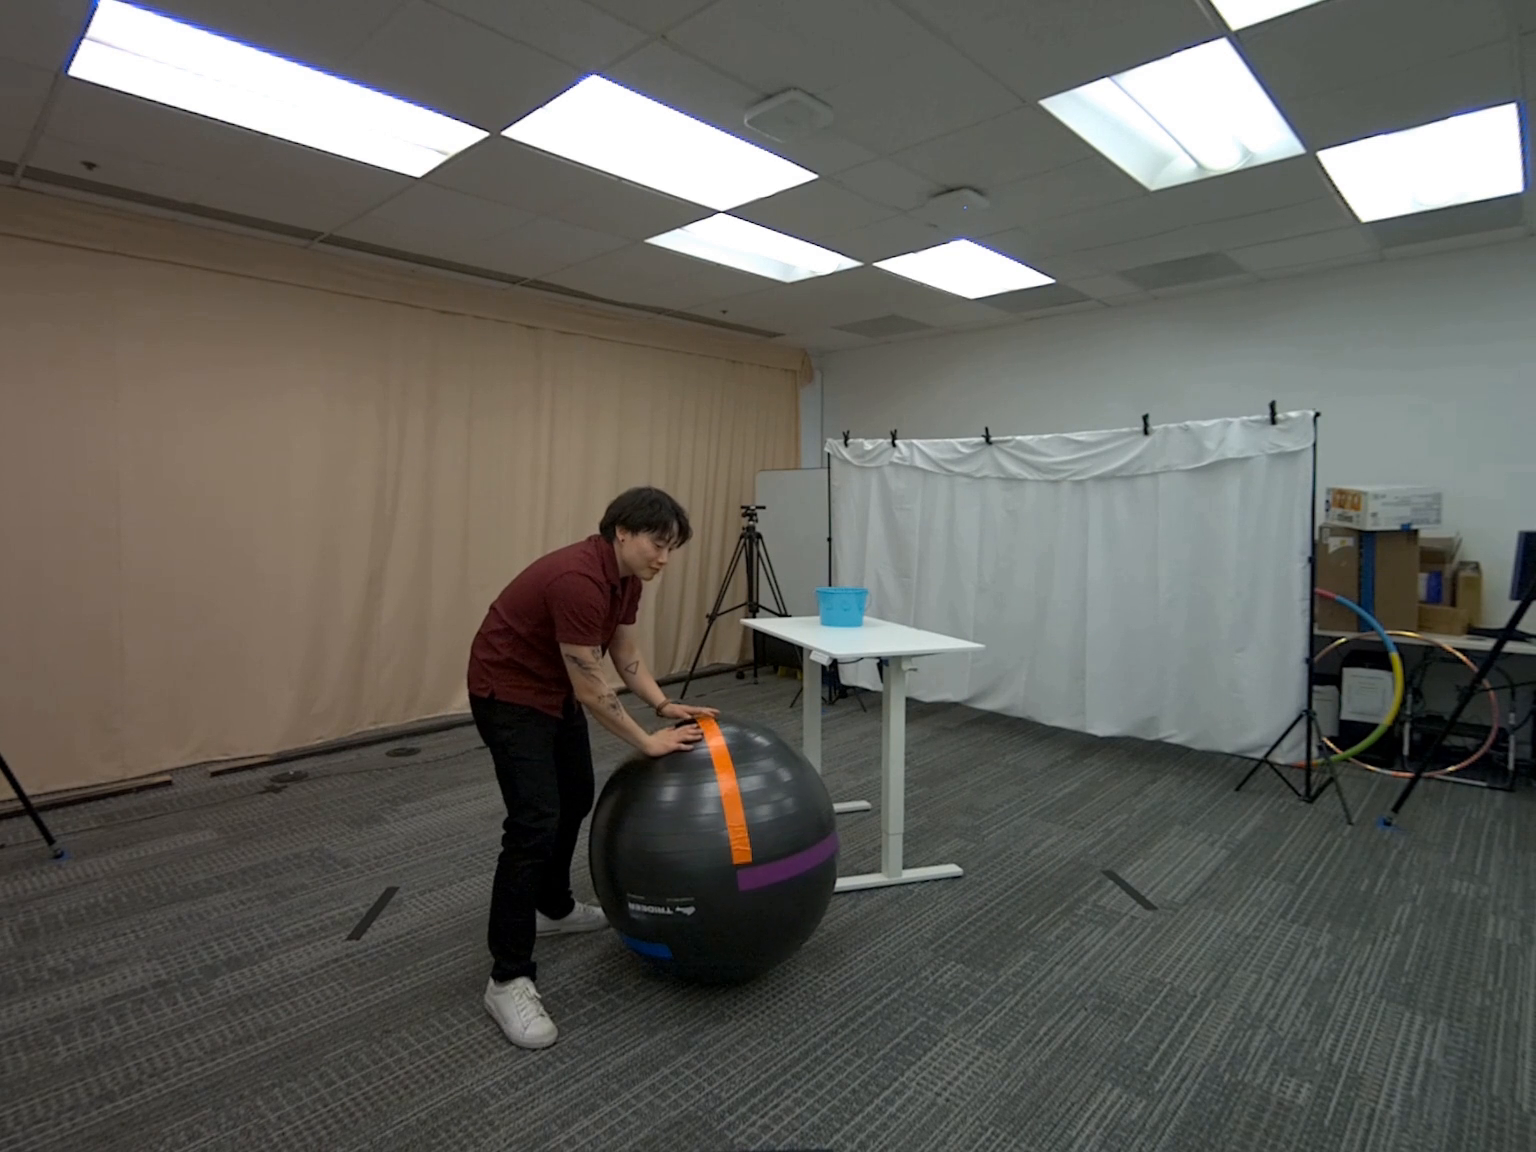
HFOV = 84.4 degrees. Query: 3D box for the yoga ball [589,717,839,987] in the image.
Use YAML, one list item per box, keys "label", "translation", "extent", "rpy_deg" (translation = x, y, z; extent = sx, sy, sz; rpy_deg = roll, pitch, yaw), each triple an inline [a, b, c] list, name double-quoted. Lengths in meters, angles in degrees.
- label: "yoga ball"
  translation: [-0.151, 0.817, 2.553]
  extent: [0.757, 0.756, 0.760]
  rpy_deg: [0, 4, -2]
